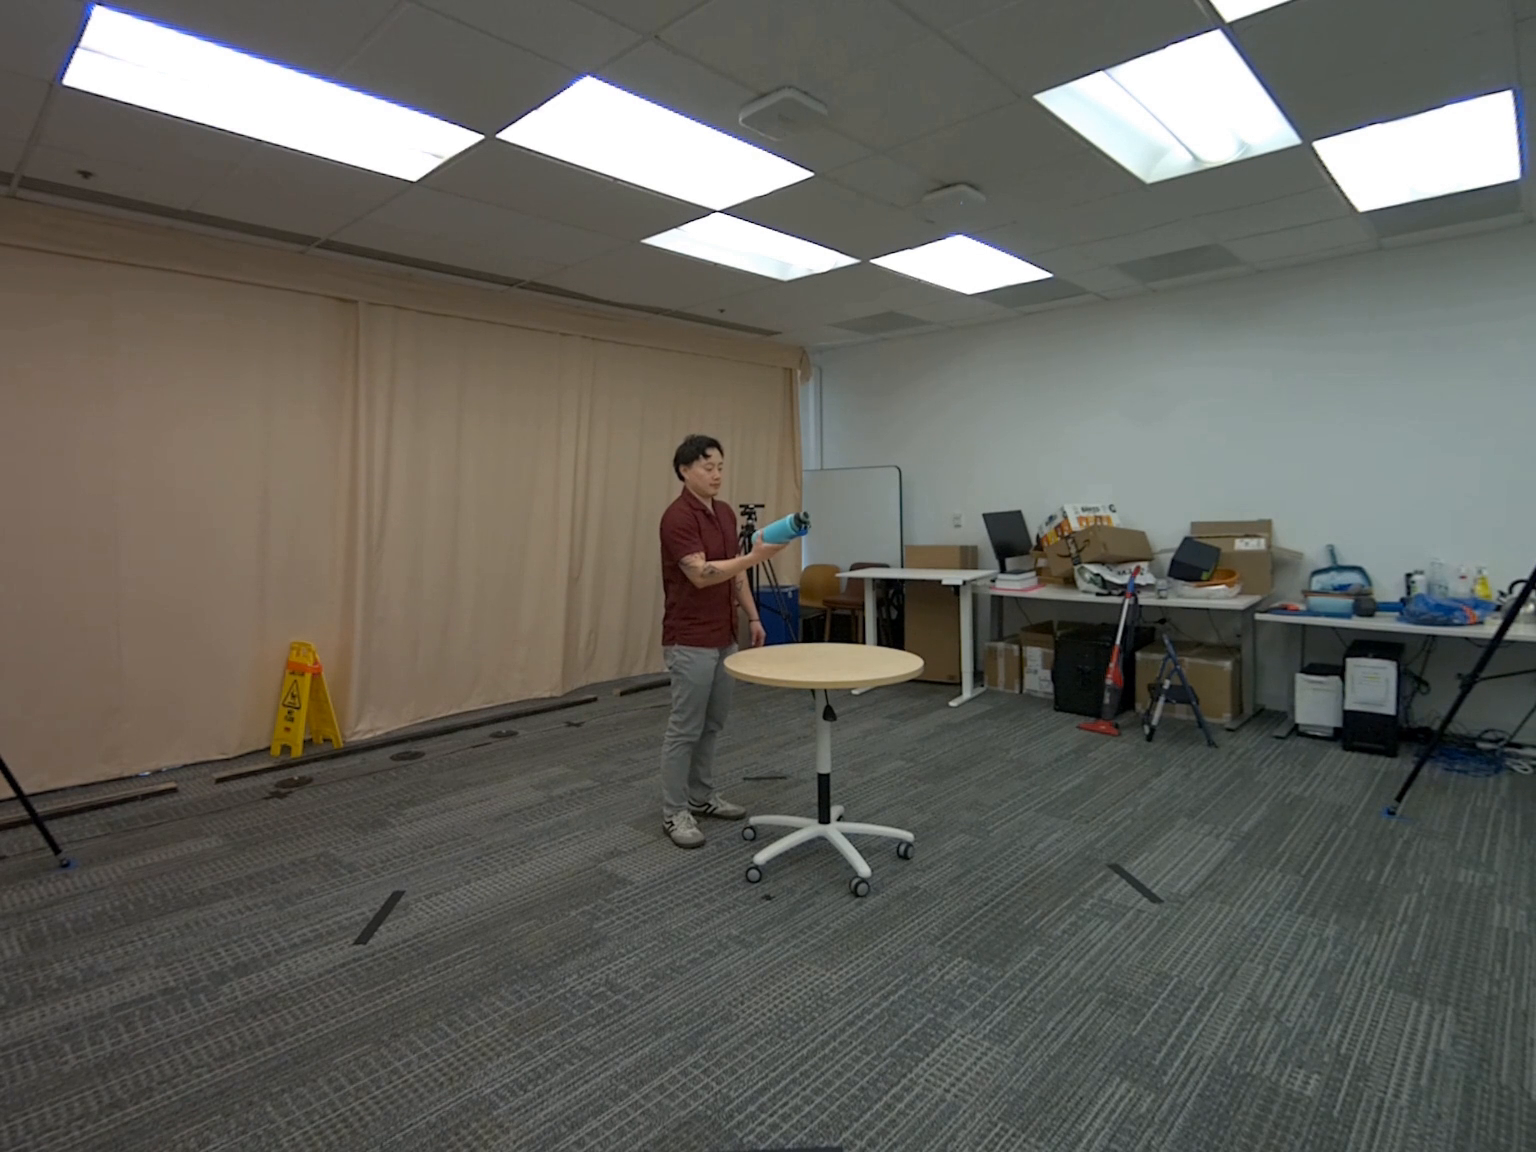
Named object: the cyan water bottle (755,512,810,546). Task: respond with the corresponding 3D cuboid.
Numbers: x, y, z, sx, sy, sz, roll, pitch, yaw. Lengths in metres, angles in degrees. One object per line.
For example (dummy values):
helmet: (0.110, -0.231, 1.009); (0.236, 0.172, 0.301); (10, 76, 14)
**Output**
cyan water bottle: (0.059, -0.176, 3.248); (0.089, 0.093, 0.289); (-4, -13, -42)
